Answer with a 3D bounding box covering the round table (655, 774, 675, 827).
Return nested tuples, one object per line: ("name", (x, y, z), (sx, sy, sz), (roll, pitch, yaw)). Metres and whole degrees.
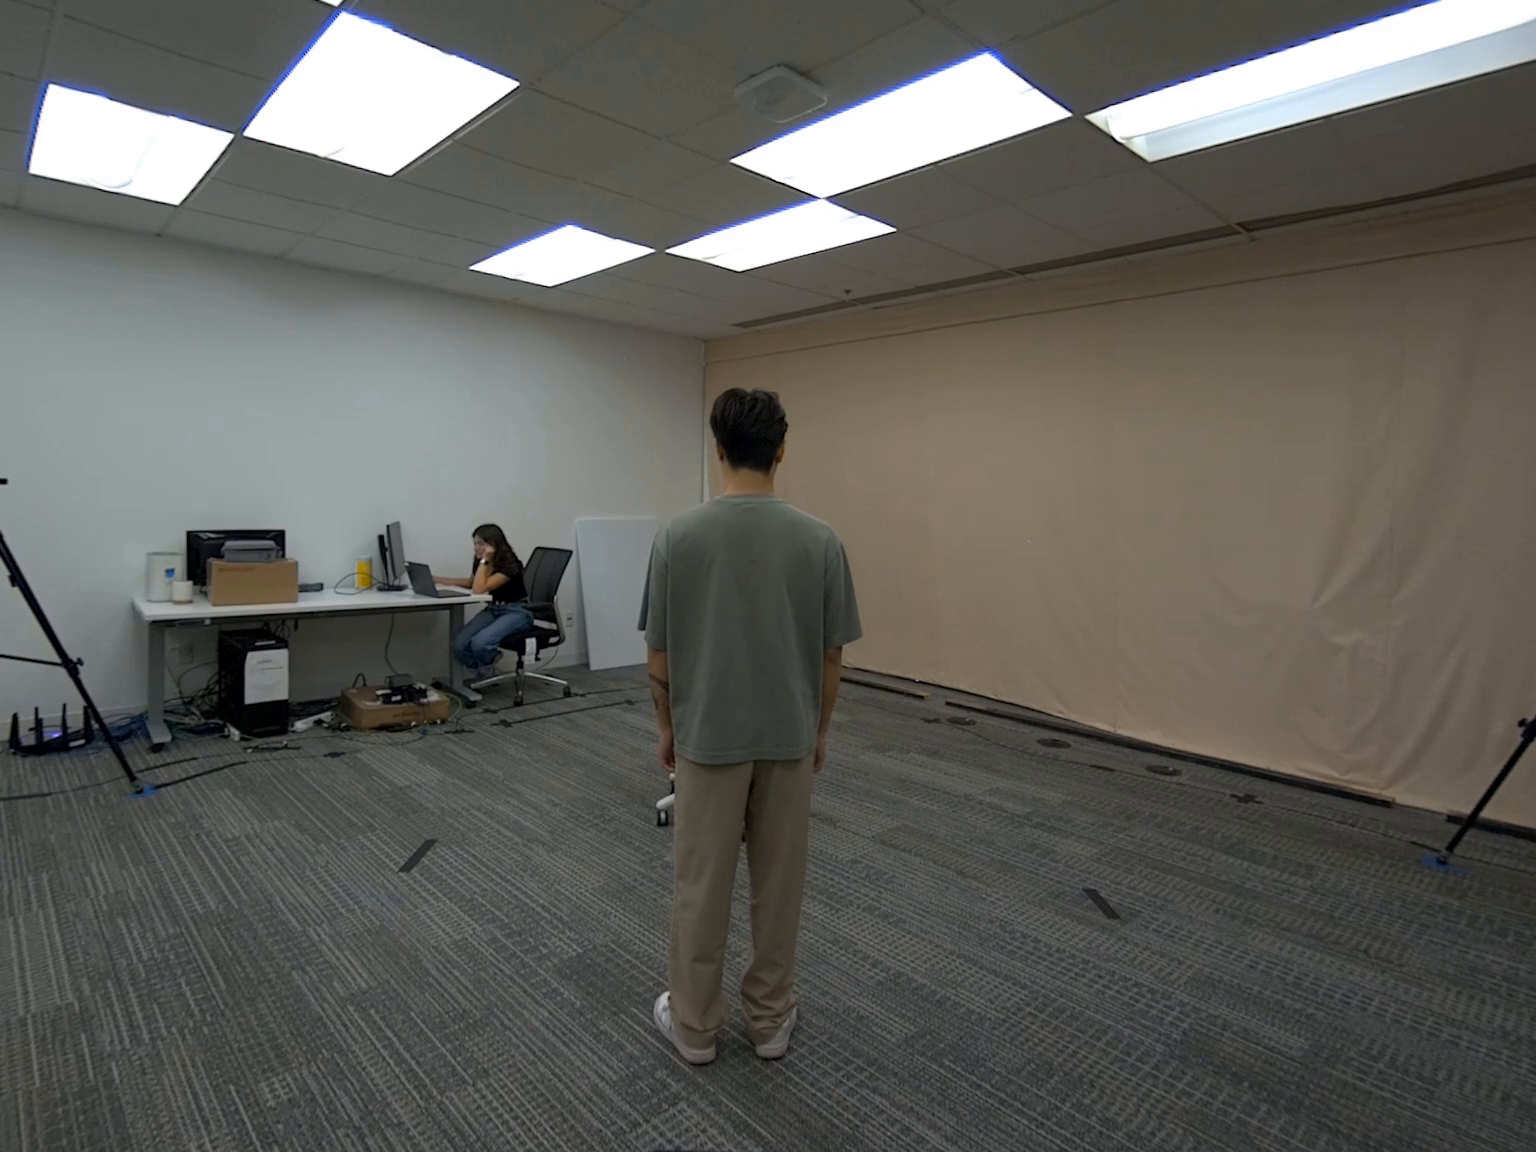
("round table", (-0.164, 0.661, 3.750), (0.784, 0.785, 0.787), (1, 3, -1))
